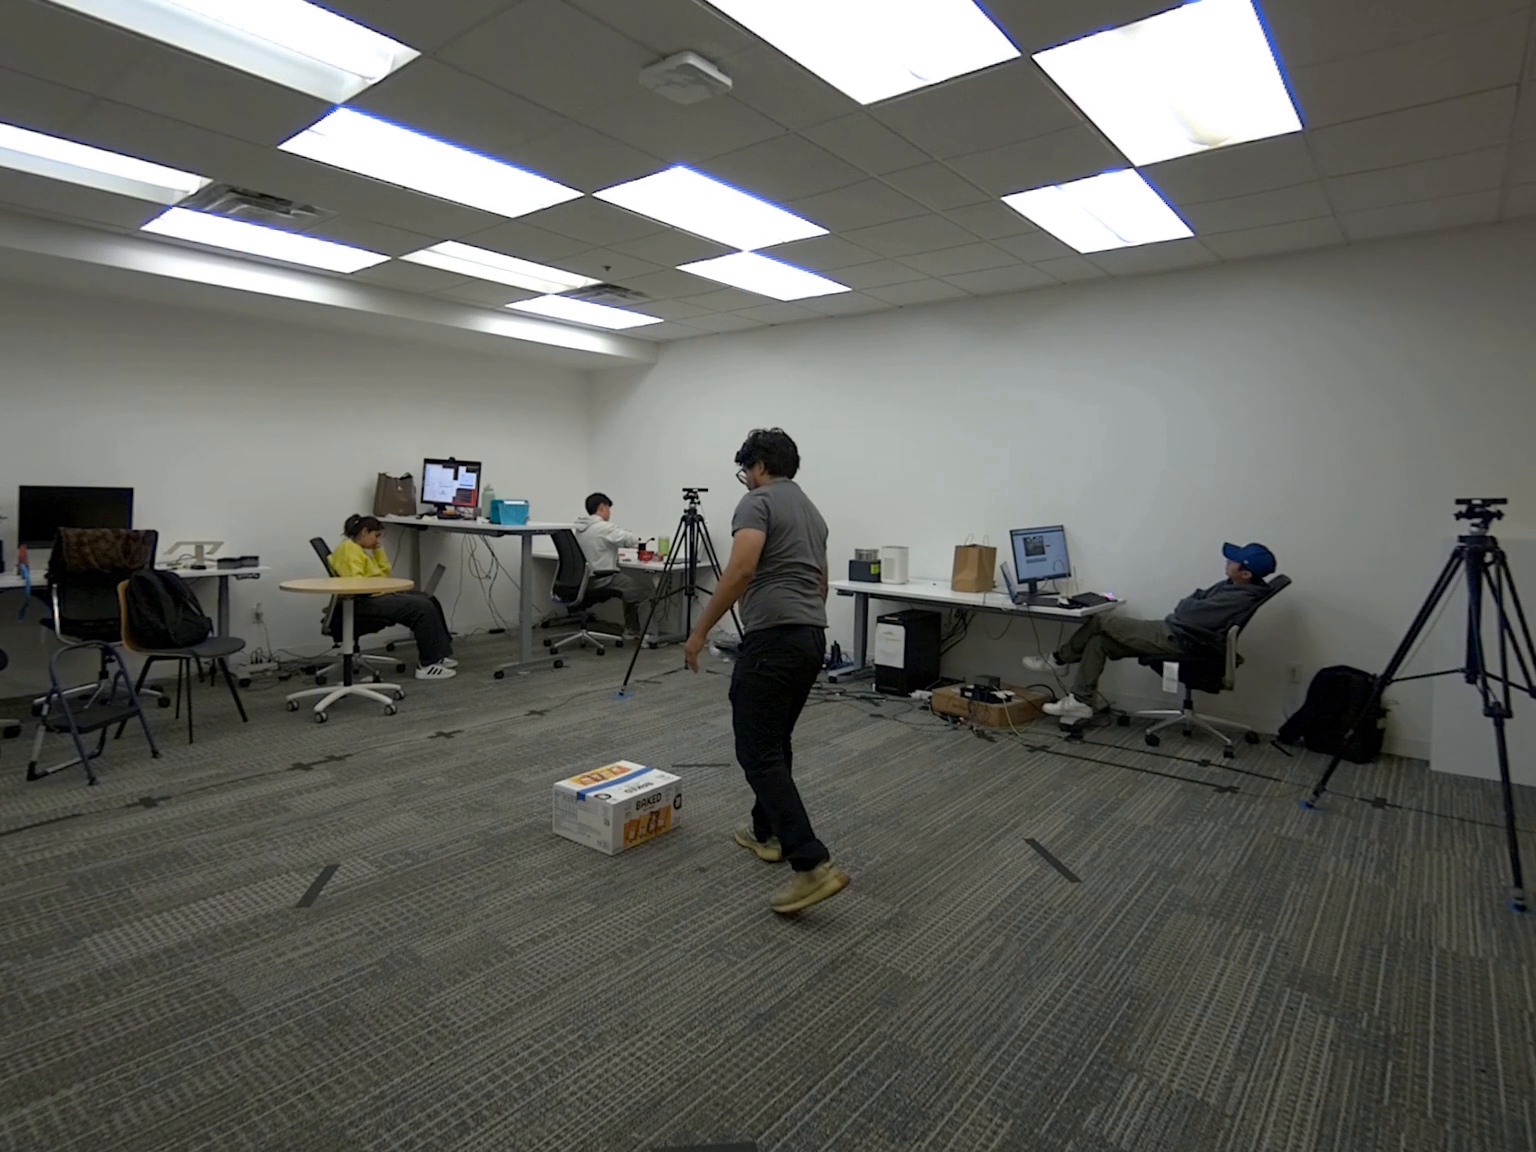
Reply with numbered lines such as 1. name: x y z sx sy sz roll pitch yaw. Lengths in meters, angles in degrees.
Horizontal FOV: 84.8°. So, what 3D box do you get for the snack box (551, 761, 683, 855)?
1. snack box: -0.621 0.929 3.453 0.351 0.205 0.393 4 6 36
